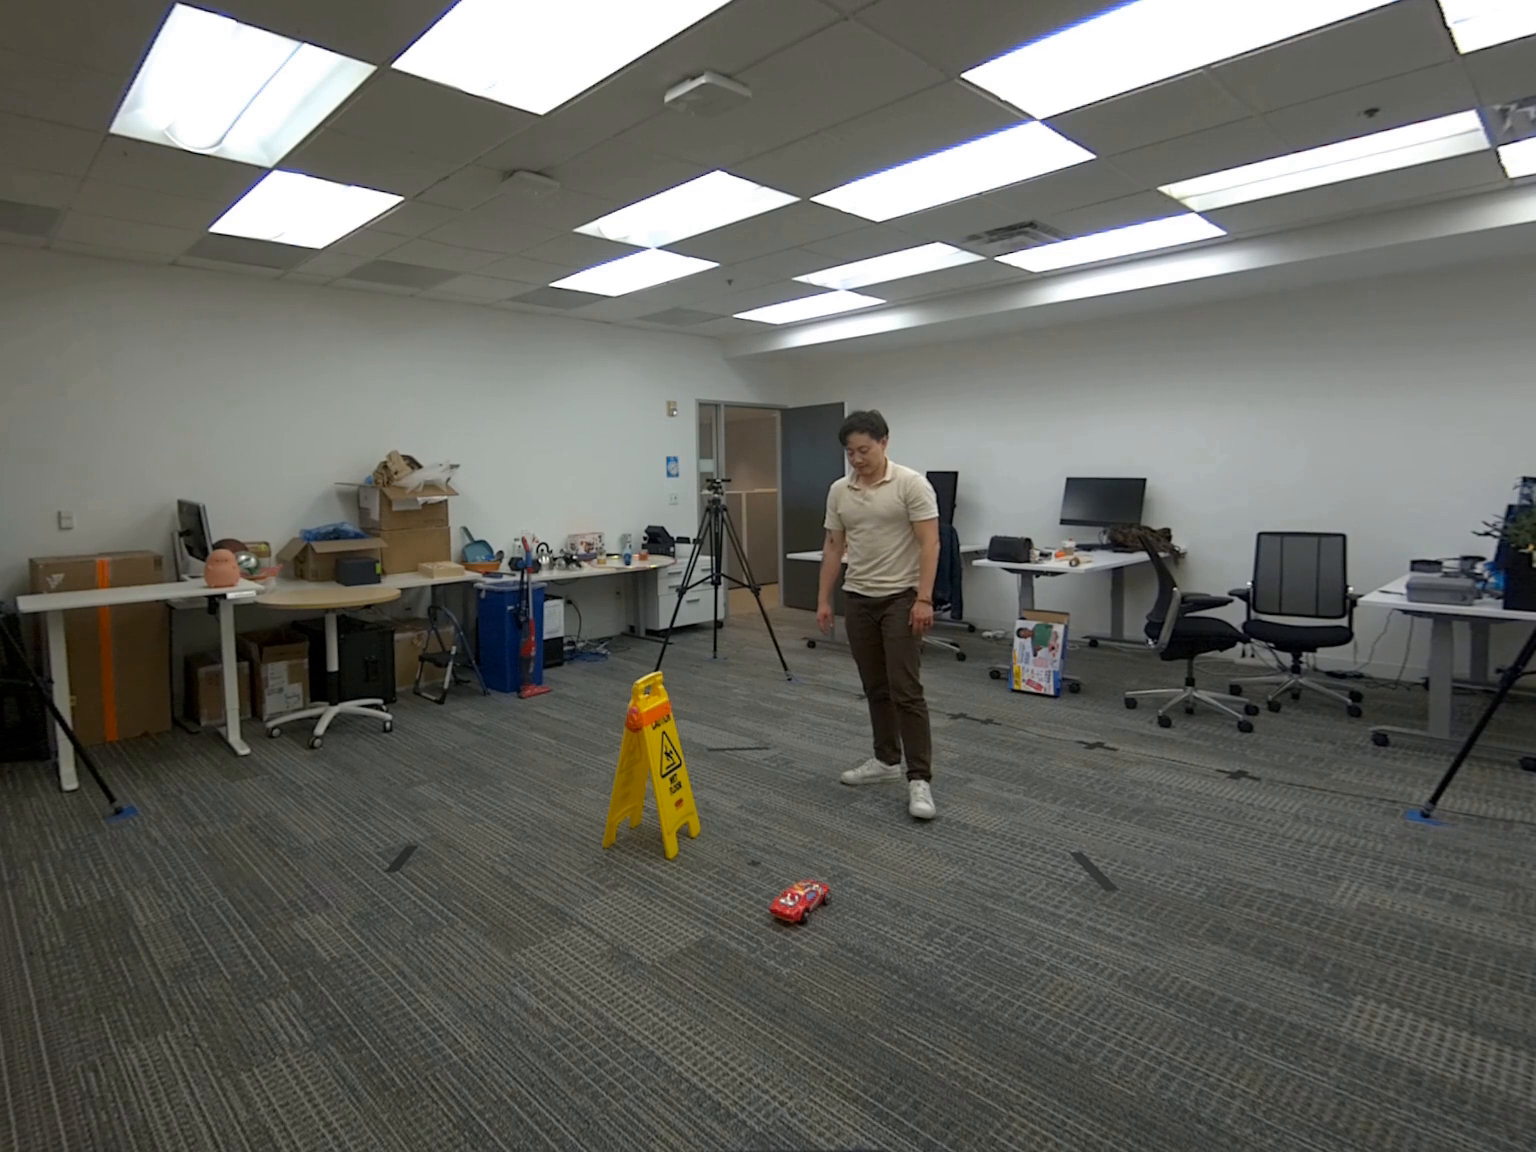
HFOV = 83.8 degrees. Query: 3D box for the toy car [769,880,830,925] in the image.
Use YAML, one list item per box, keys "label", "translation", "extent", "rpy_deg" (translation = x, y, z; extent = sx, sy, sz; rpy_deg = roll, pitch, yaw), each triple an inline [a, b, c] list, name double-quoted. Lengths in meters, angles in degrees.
- label: "toy car"
  translation: [0.103, 1.051, 2.749]
  extent: [0.134, 0.083, 0.246]
  rpy_deg: [4, -3, 34]
